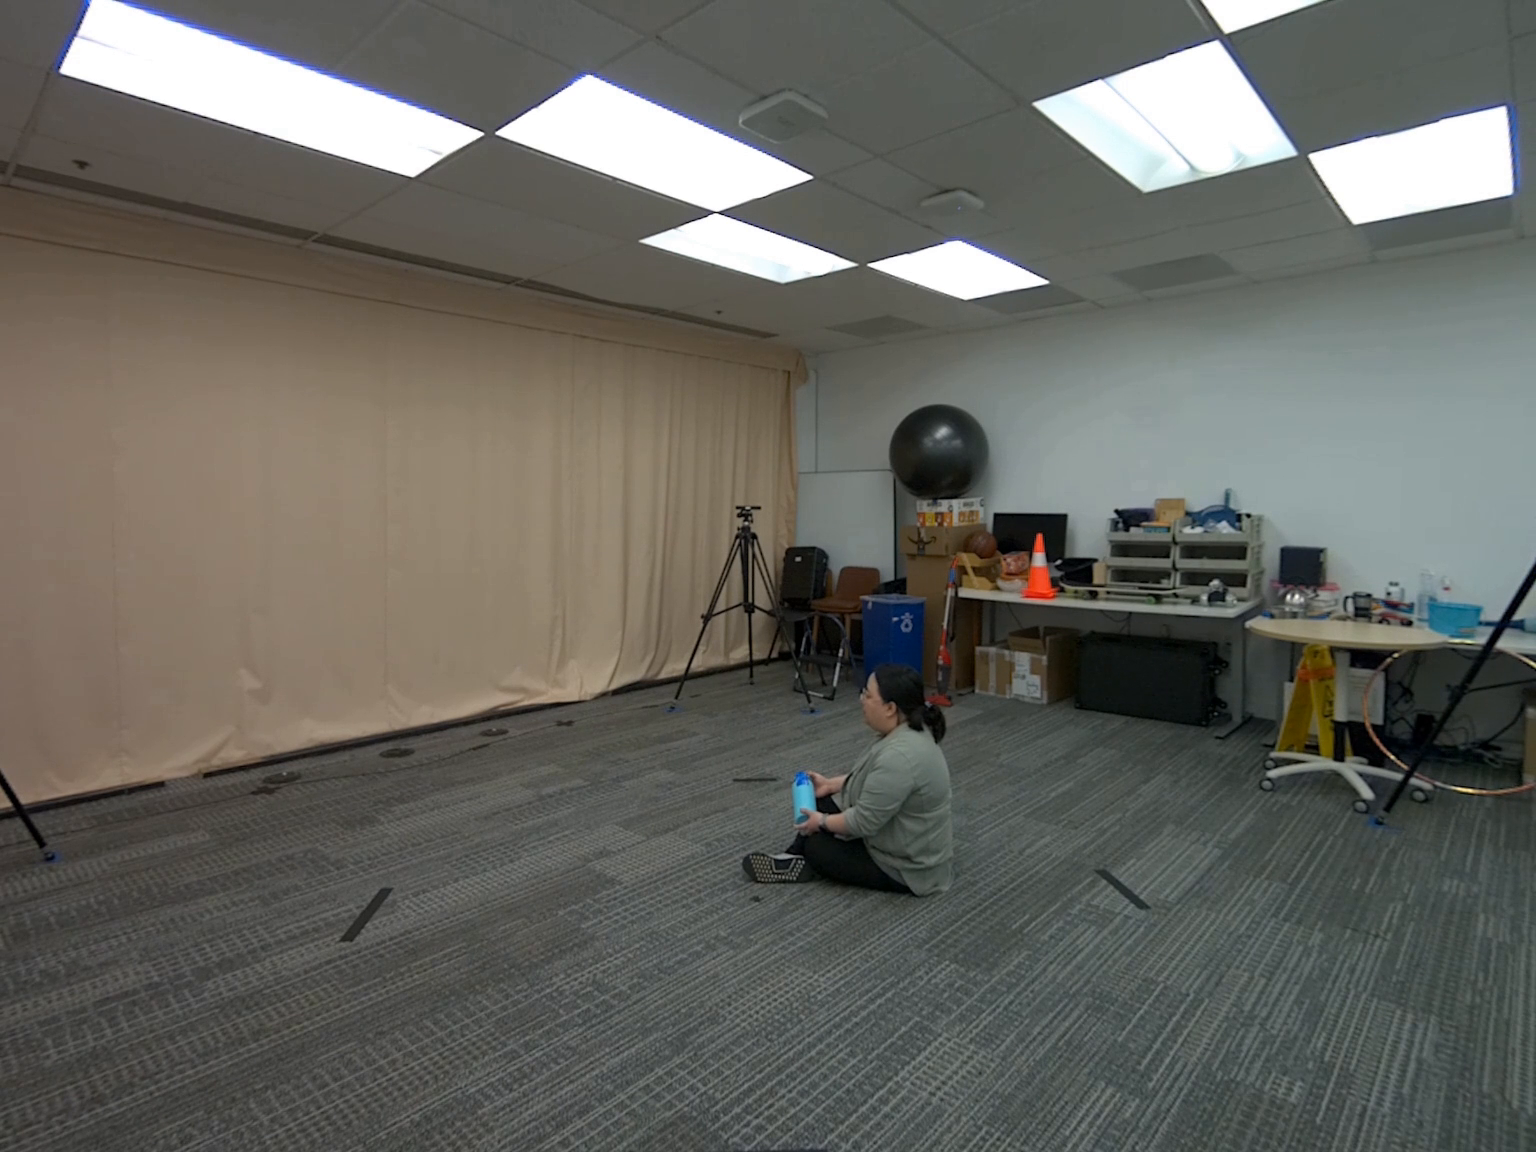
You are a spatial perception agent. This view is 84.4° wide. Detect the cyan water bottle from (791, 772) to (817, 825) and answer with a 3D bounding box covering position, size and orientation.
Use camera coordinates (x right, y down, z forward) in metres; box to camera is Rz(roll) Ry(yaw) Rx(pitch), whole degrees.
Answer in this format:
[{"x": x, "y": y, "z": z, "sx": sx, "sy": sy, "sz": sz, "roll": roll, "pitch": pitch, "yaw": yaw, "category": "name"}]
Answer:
[{"x": 0.151, "y": 0.879, "z": 3.311, "sx": 0.092, "sy": 0.091, "sz": 0.287, "roll": -1, "pitch": 23, "yaw": -1, "category": "cyan water bottle"}]
